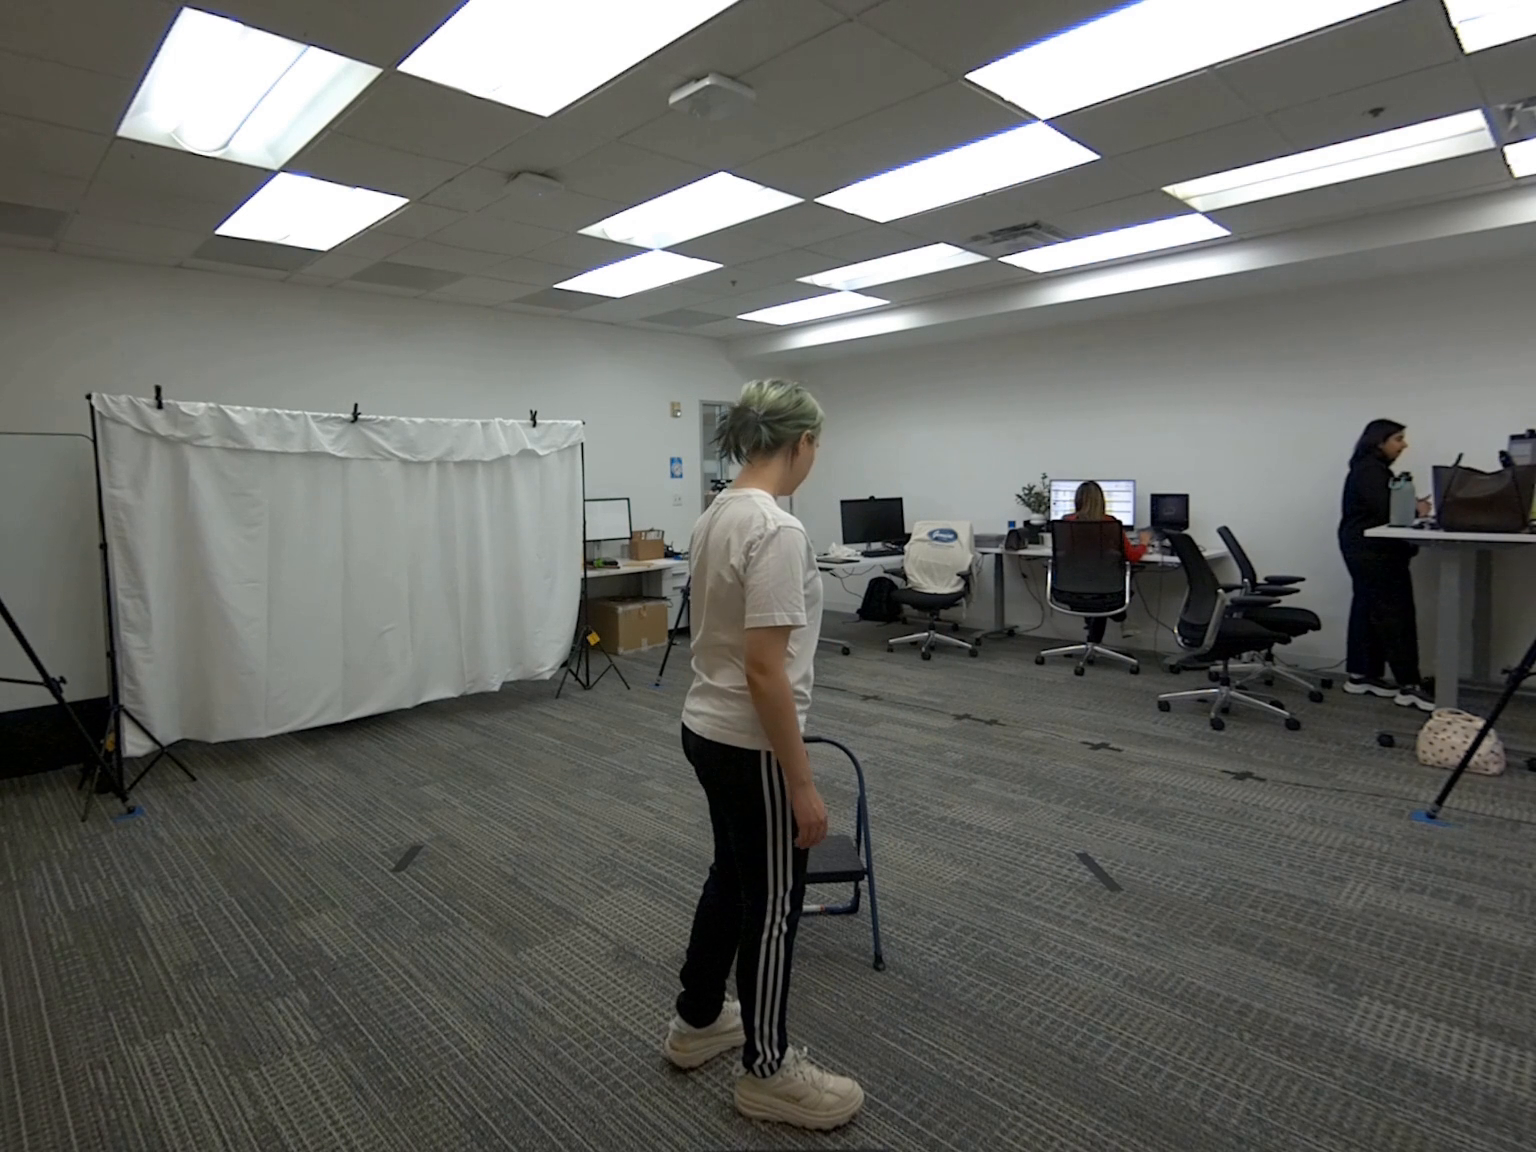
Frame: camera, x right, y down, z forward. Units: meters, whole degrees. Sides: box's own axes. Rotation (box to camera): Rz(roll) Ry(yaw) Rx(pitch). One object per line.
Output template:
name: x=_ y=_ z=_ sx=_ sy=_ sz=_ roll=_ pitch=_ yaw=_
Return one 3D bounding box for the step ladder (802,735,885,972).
step ladder: x=0.105 y=0.806 z=2.568 sx=0.429 sy=0.604 sz=0.352 roll=-2 pitch=4 yaw=-4
